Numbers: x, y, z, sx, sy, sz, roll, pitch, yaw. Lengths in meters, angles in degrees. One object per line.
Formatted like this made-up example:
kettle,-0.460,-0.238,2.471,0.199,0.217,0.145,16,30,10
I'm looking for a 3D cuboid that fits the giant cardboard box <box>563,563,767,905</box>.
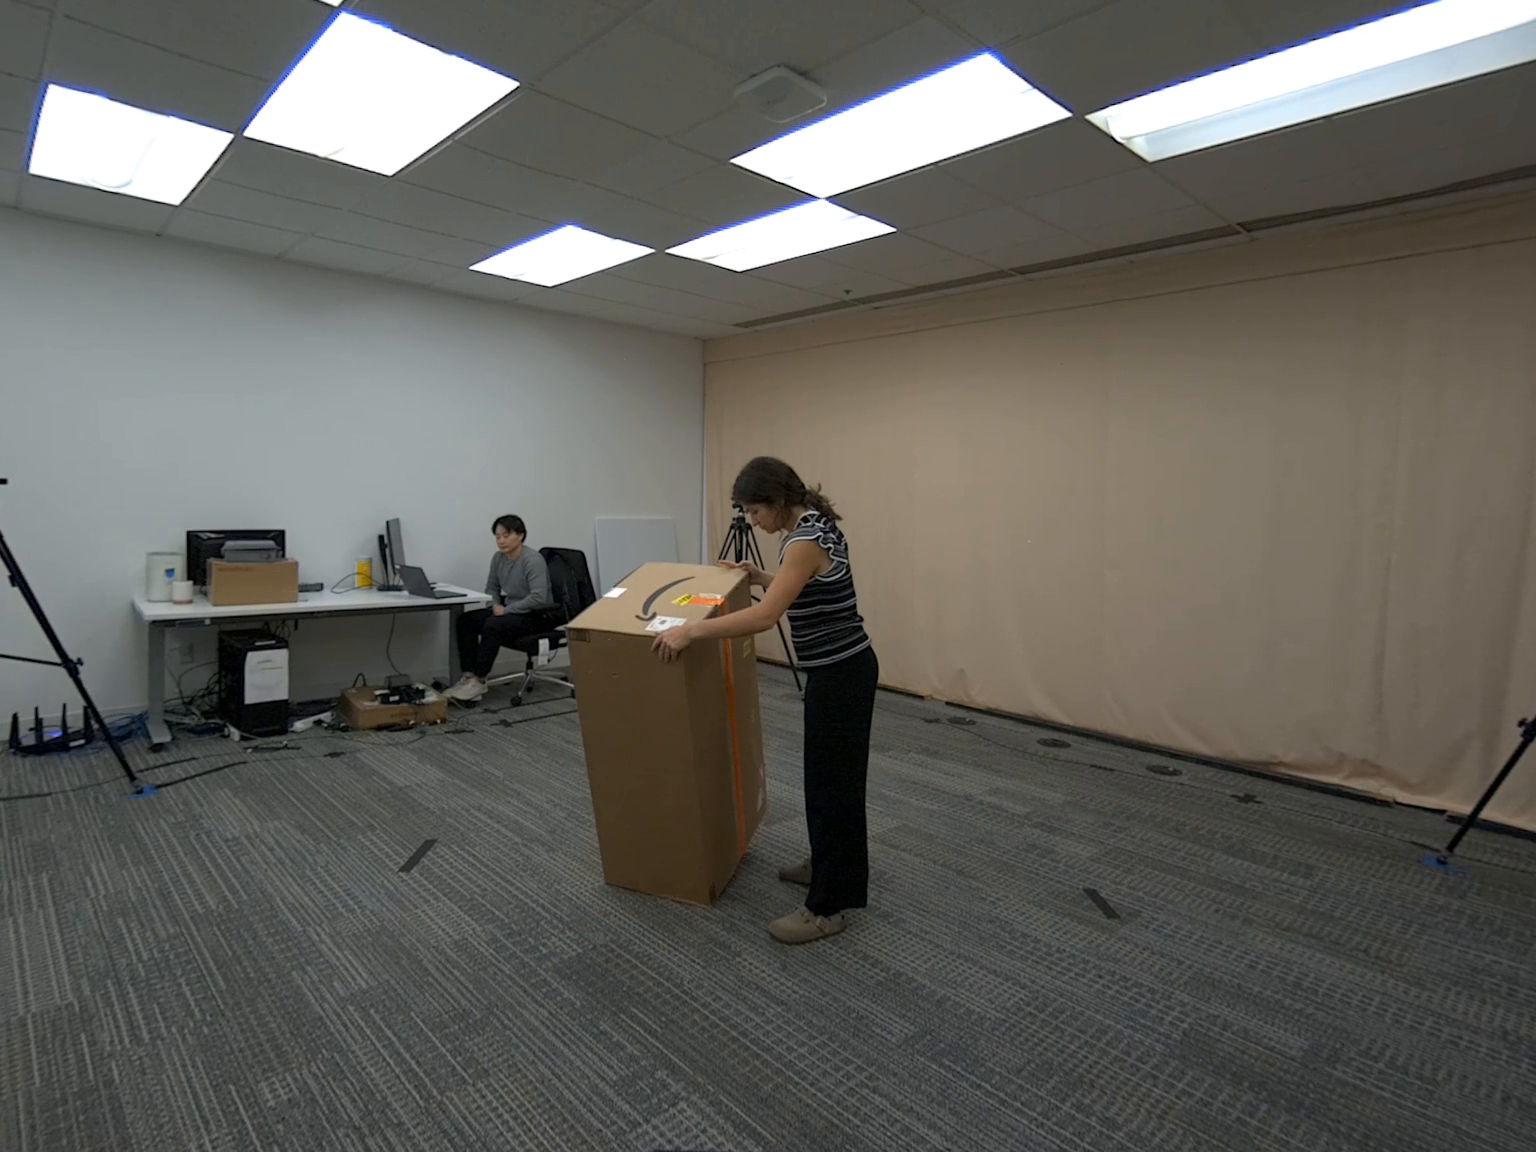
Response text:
giant cardboard box,-0.331,0.545,3.019,0.434,1.010,0.576,4,22,21
